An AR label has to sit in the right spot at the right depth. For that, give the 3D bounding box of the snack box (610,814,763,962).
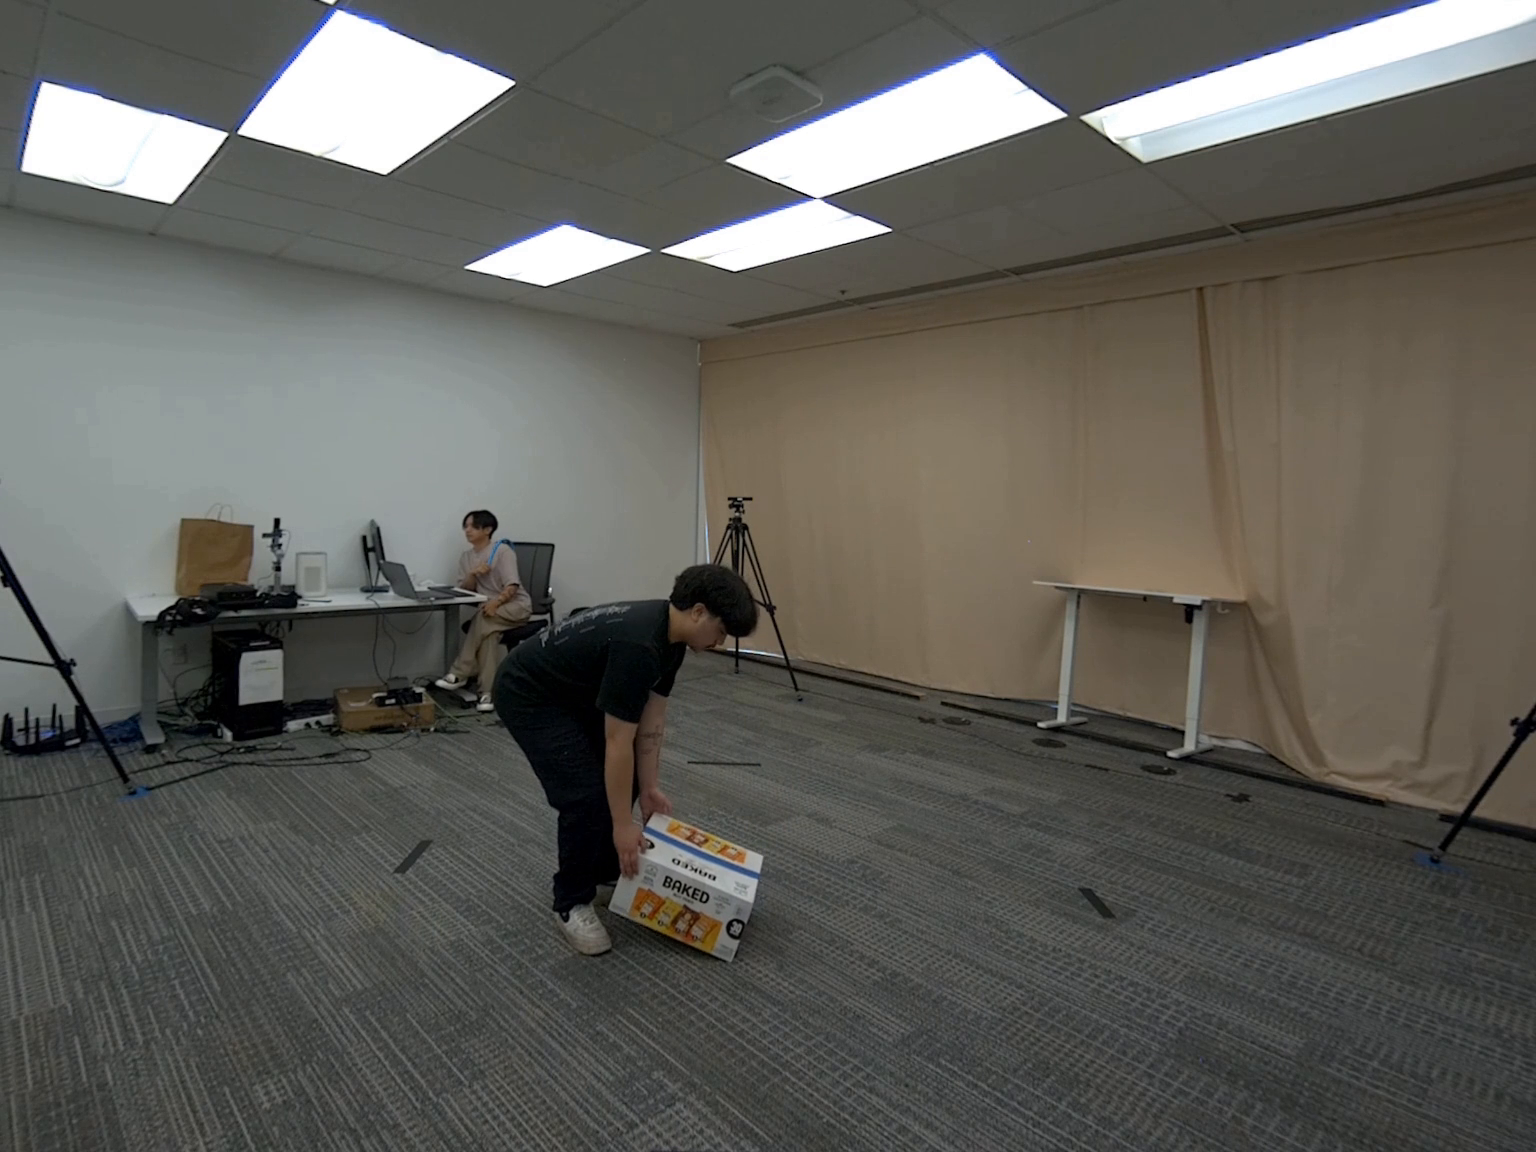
[{"bbox_3d":[-0.251,0.984,2.693,0.407,0.205,0.339,21,6,4],"label":"snack box"}]
